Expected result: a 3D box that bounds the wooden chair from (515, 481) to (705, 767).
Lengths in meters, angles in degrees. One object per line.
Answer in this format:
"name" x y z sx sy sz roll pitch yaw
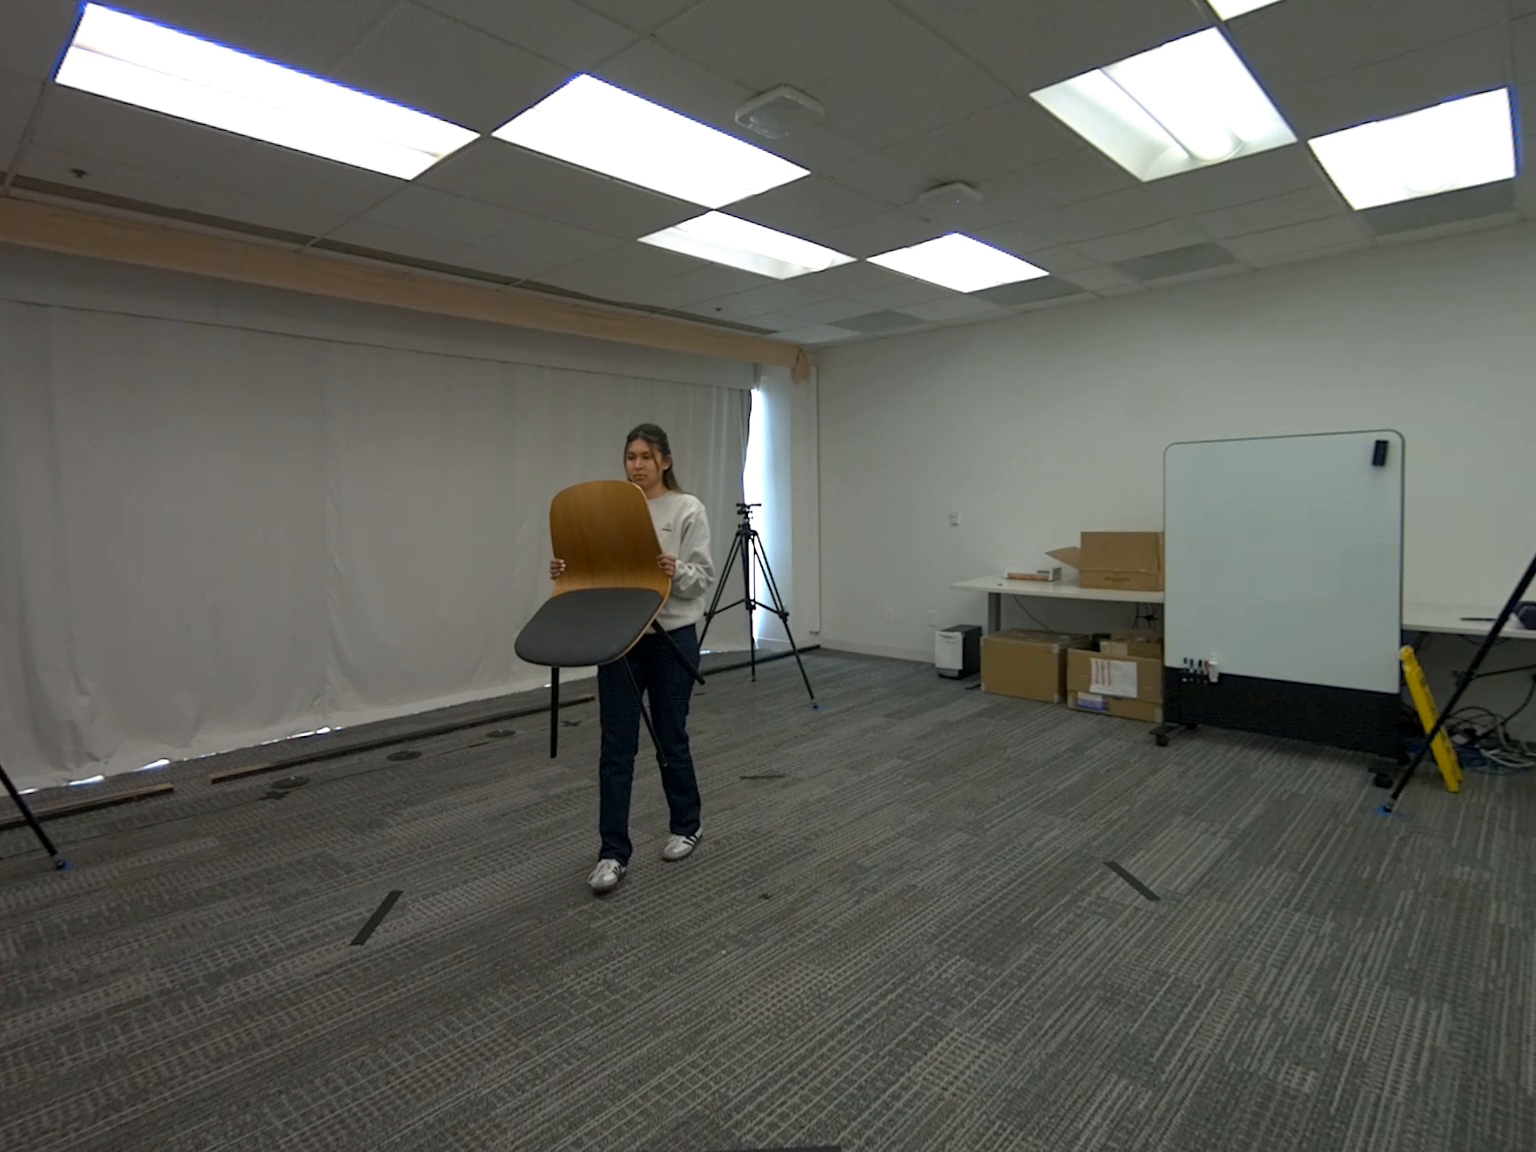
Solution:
"wooden chair" -0.571 0.168 2.908 0.488 0.862 0.521 -2 24 19
